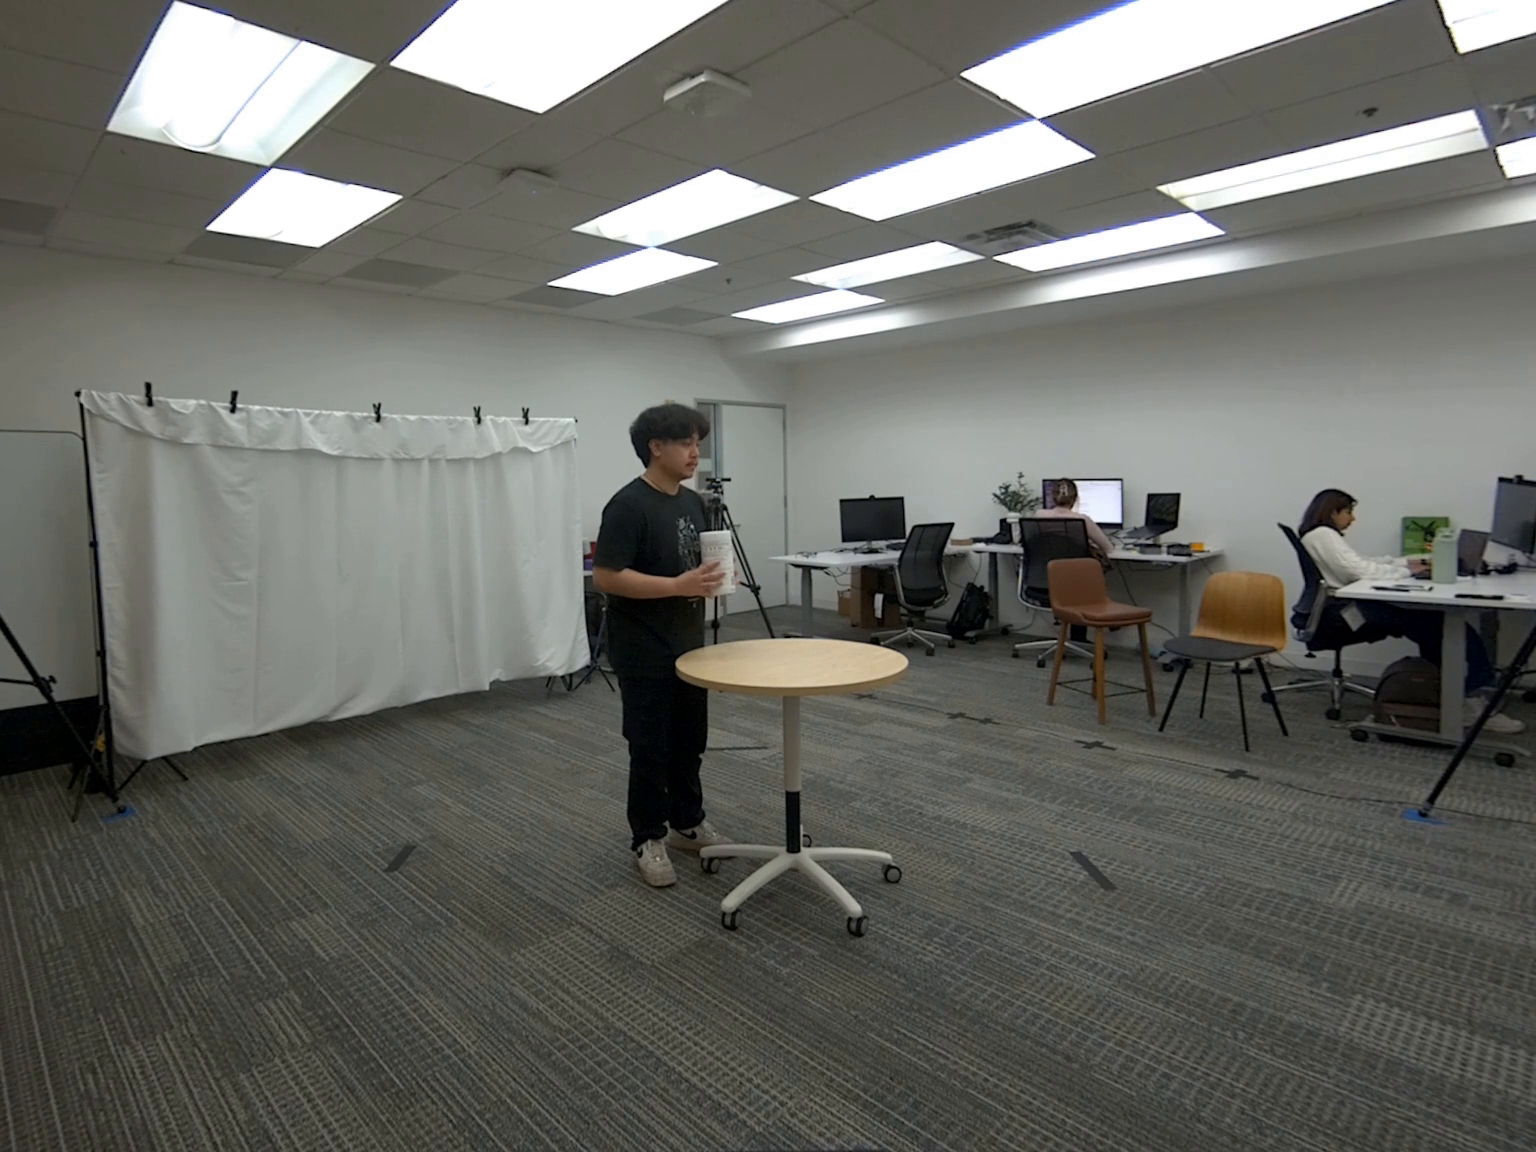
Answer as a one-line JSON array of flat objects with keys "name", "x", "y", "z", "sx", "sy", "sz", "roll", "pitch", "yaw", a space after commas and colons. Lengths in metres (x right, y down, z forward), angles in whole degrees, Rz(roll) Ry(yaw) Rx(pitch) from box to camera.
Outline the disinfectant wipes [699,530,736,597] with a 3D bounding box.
[{"name": "disinfectant wipes", "x": -0.178, "y": -0.040, "z": 2.930, "sx": 0.118, "sy": 0.217, "sz": 0.118, "roll": -3, "pitch": 2, "yaw": -2}]
